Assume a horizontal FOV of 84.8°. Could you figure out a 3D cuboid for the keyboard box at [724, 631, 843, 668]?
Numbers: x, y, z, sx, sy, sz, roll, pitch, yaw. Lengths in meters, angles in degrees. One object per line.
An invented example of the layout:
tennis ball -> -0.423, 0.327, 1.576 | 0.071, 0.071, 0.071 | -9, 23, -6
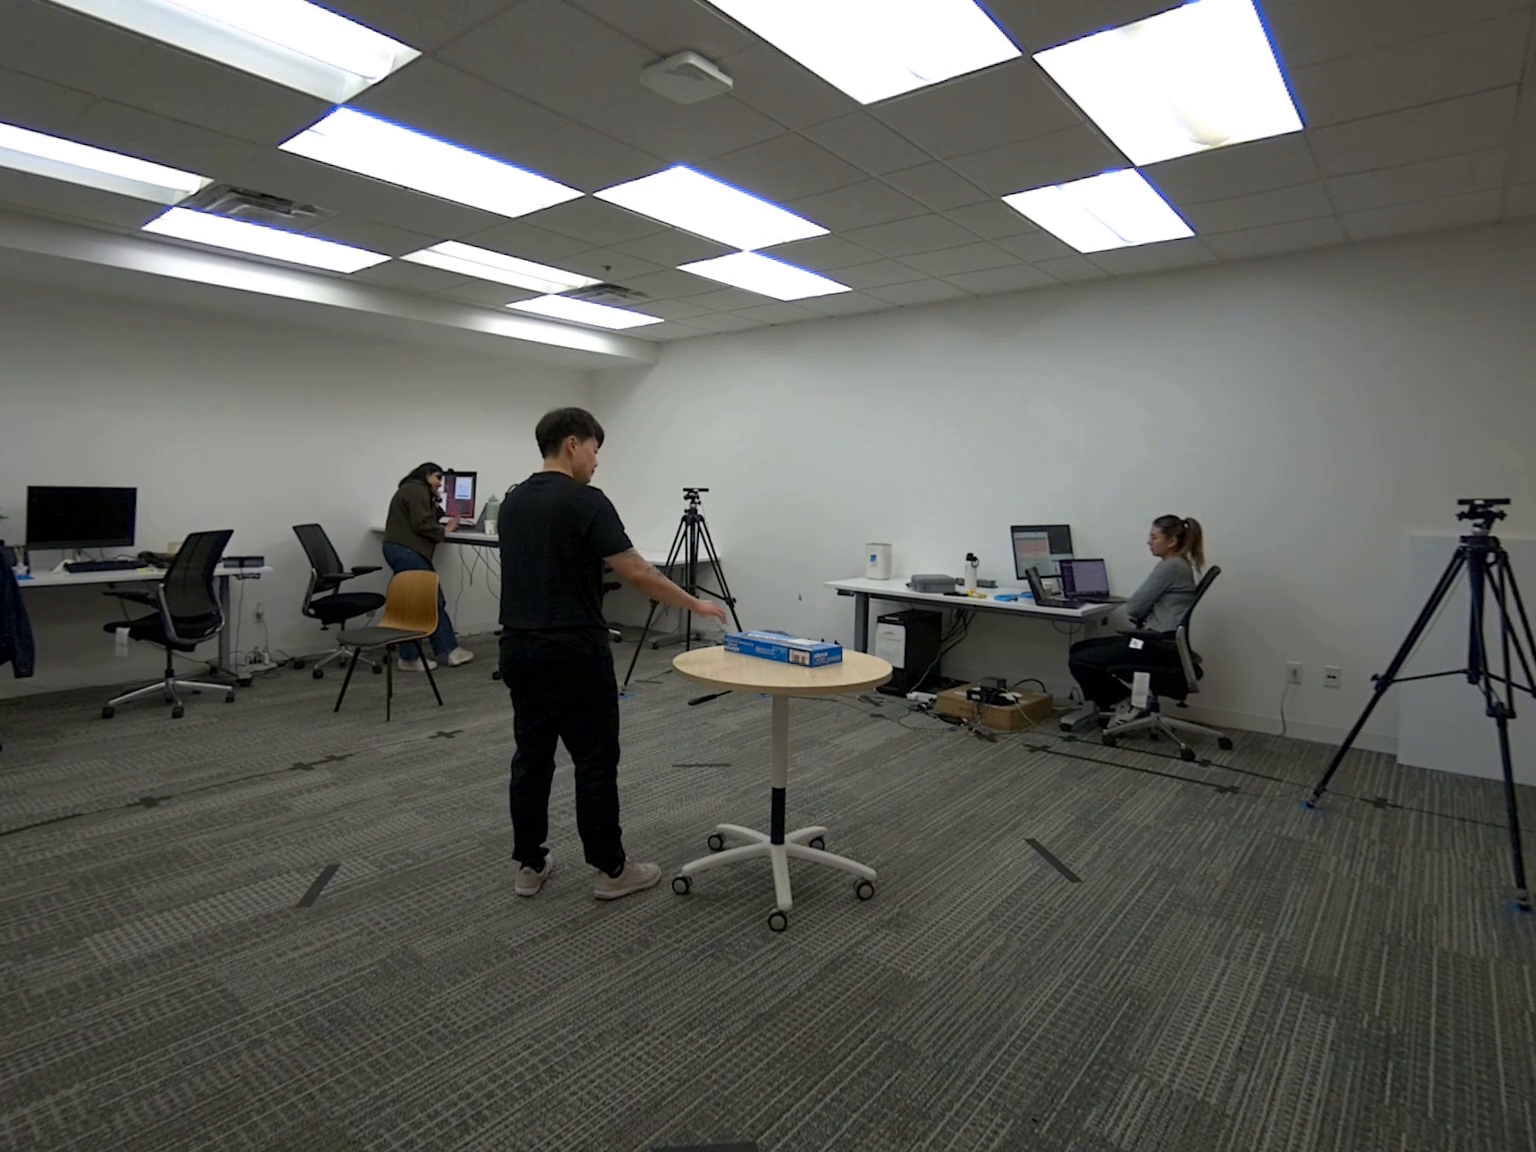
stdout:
keyboard box -> 0.044, 0.264, 3.118 | 0.452, 0.059, 0.171 | 6, 7, 45
